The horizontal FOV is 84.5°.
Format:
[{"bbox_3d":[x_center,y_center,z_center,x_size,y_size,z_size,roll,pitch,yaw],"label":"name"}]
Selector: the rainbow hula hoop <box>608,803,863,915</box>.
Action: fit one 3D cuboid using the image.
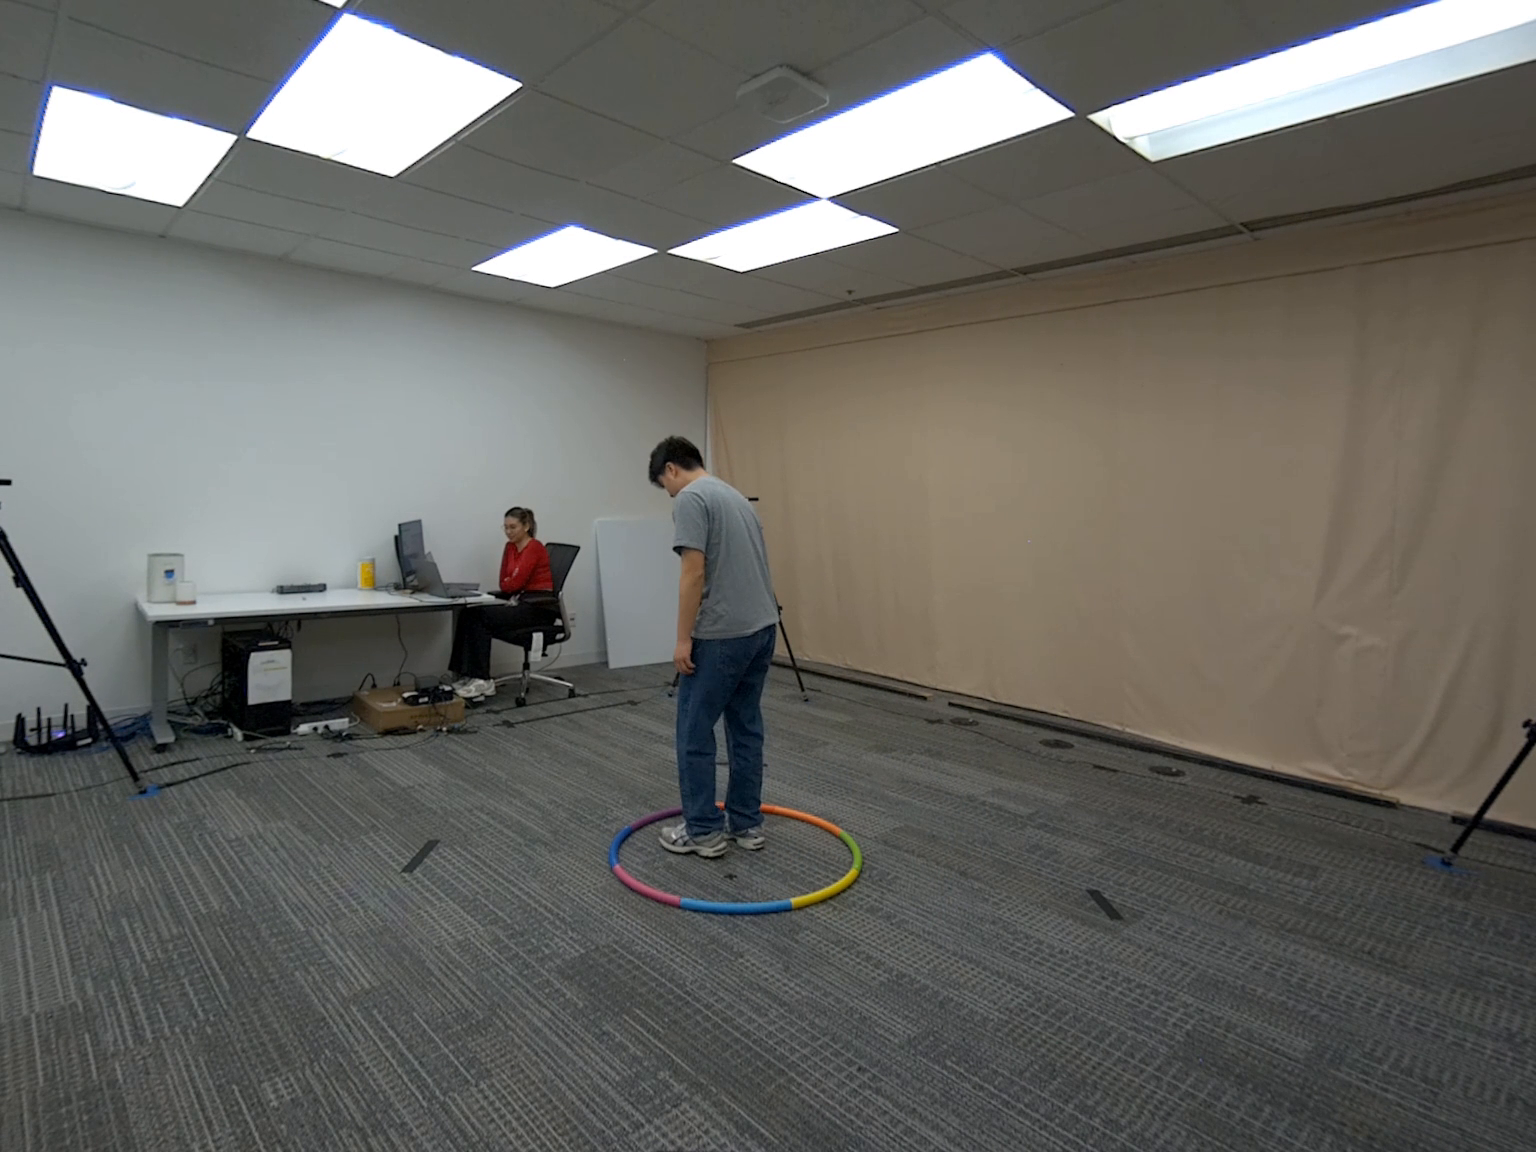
[{"bbox_3d":[-0.140,1.059,3.301,0.978,0.035,0.982,1,5,-1],"label":"rainbow hula hoop"}]
